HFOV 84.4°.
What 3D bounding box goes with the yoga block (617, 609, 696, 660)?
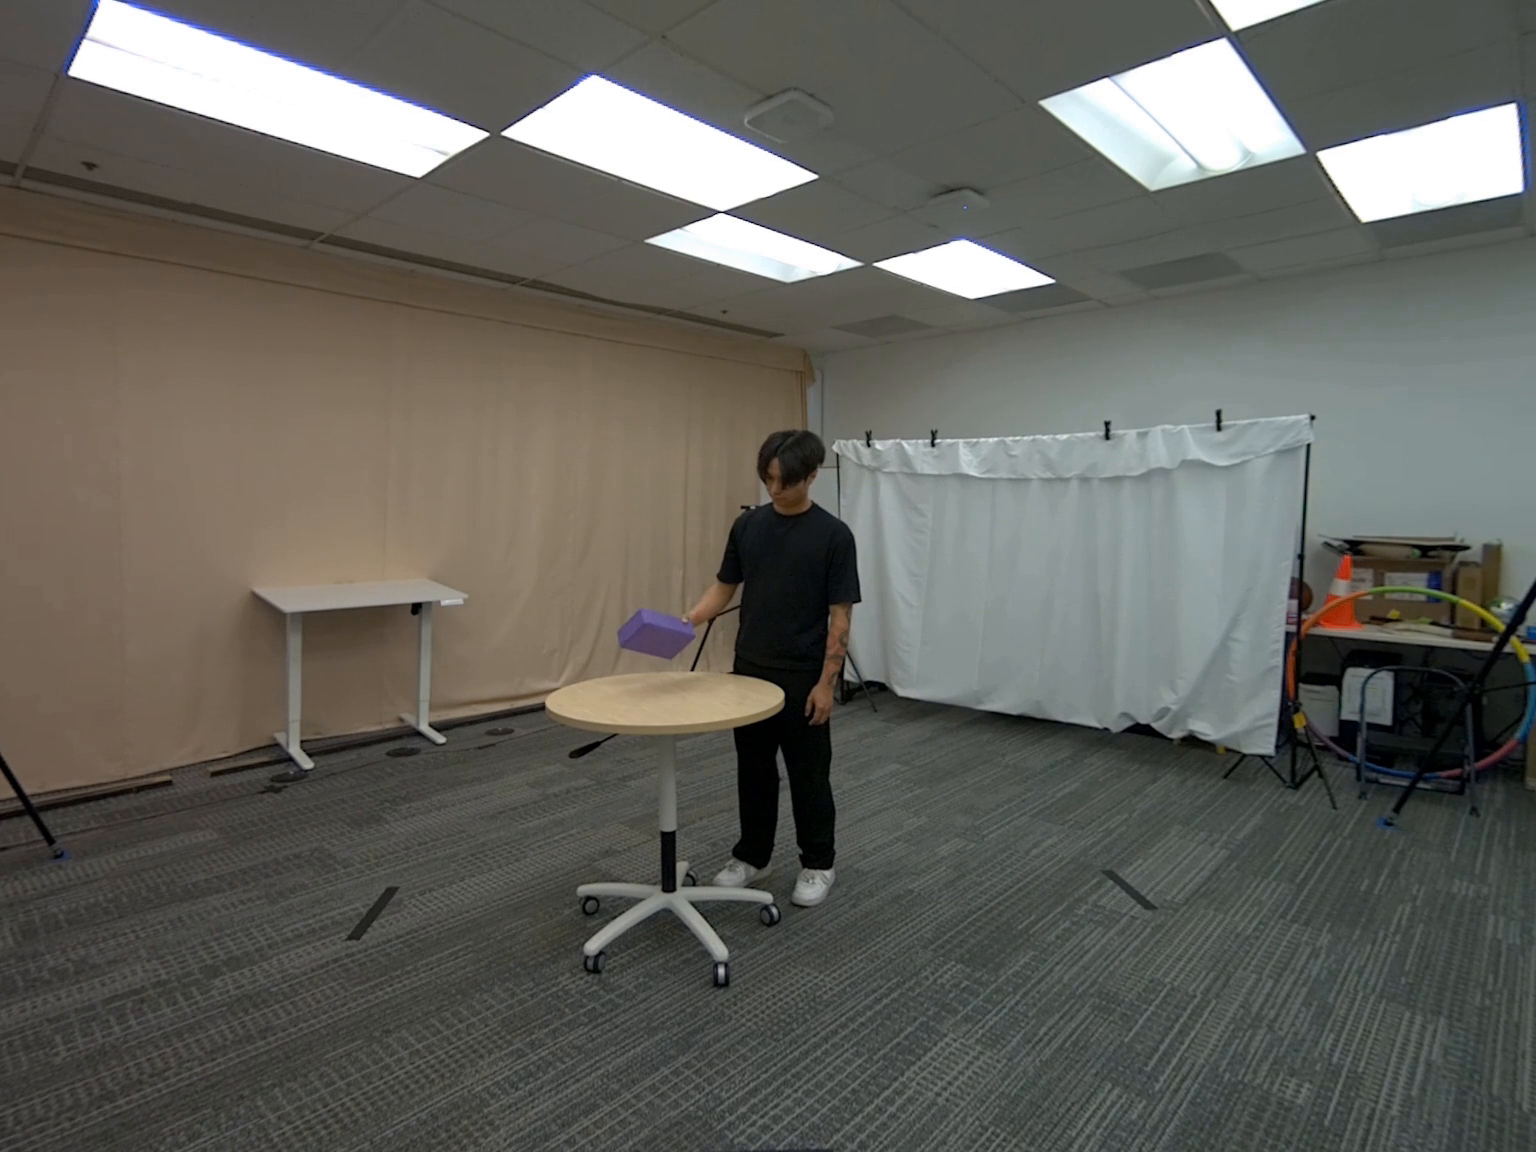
[{"bbox_3d":[-0.379,0.202,2.833,0.221,0.078,0.150,21,-52,-41],"label":"yoga block"}]
